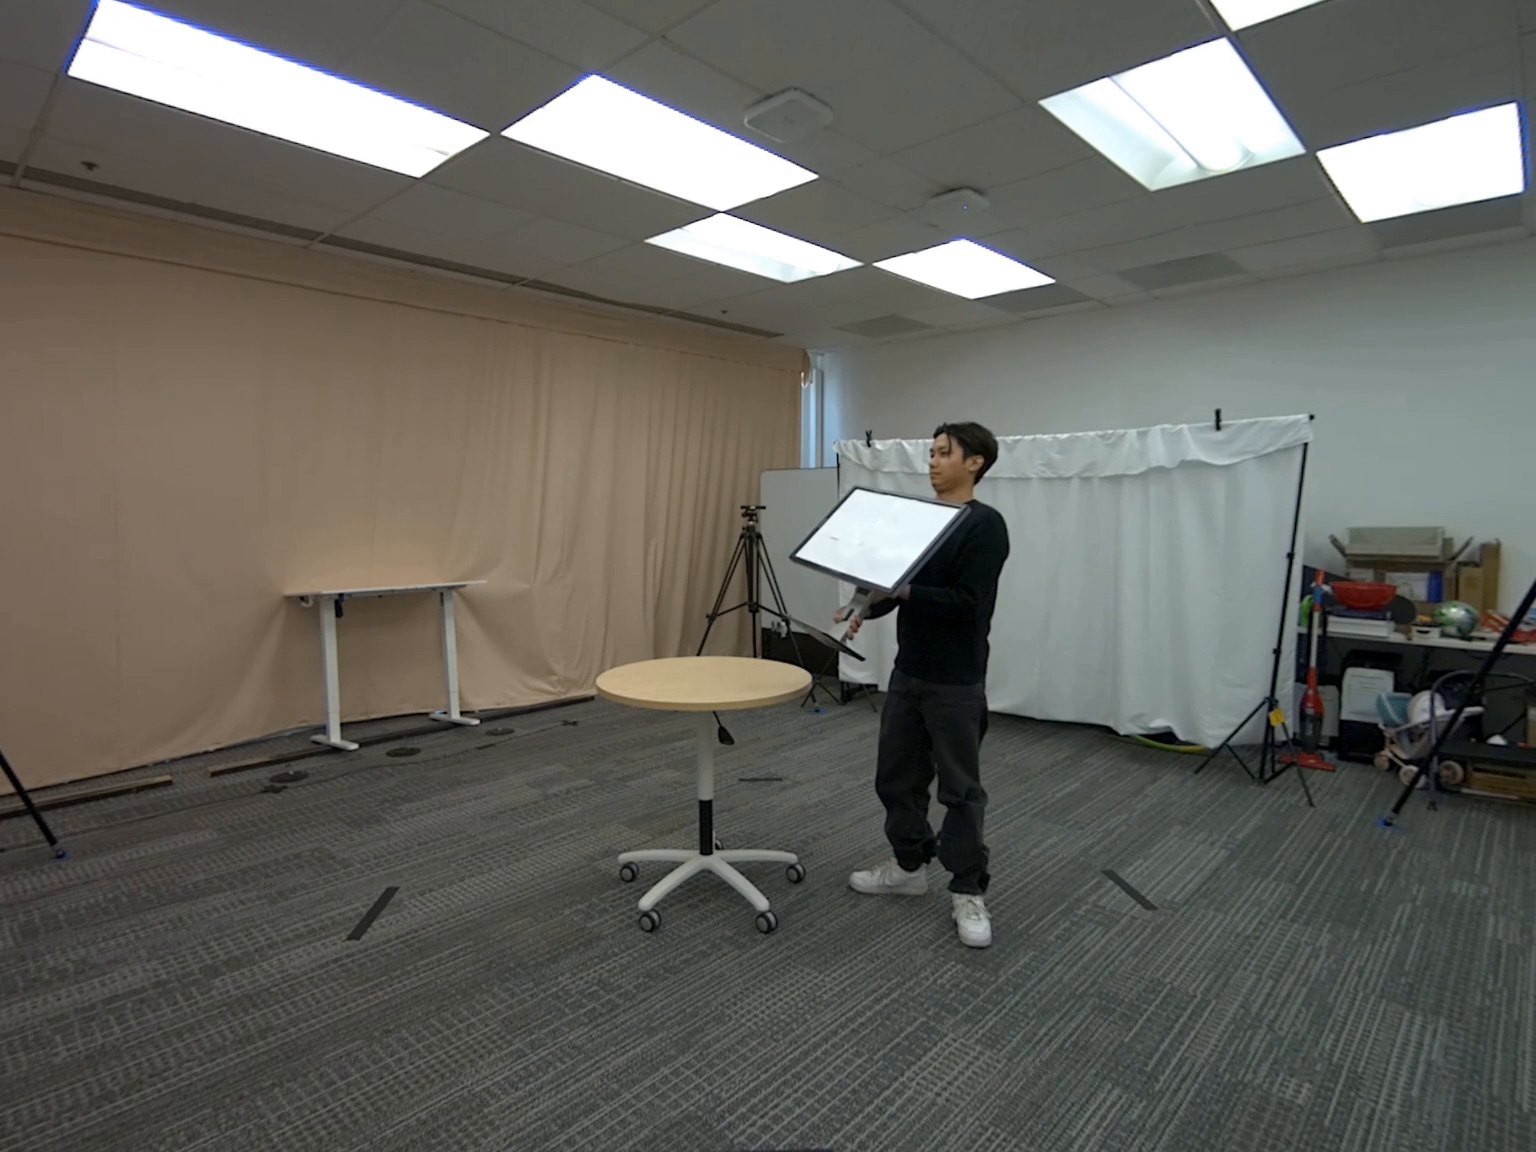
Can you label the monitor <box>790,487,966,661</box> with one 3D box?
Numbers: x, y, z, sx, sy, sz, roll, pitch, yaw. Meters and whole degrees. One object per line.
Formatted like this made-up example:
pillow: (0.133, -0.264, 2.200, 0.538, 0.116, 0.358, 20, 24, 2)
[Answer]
monitor: (0.323, -0.032, 2.691, 0.181, 0.522, 0.557, 36, -7, -33)
